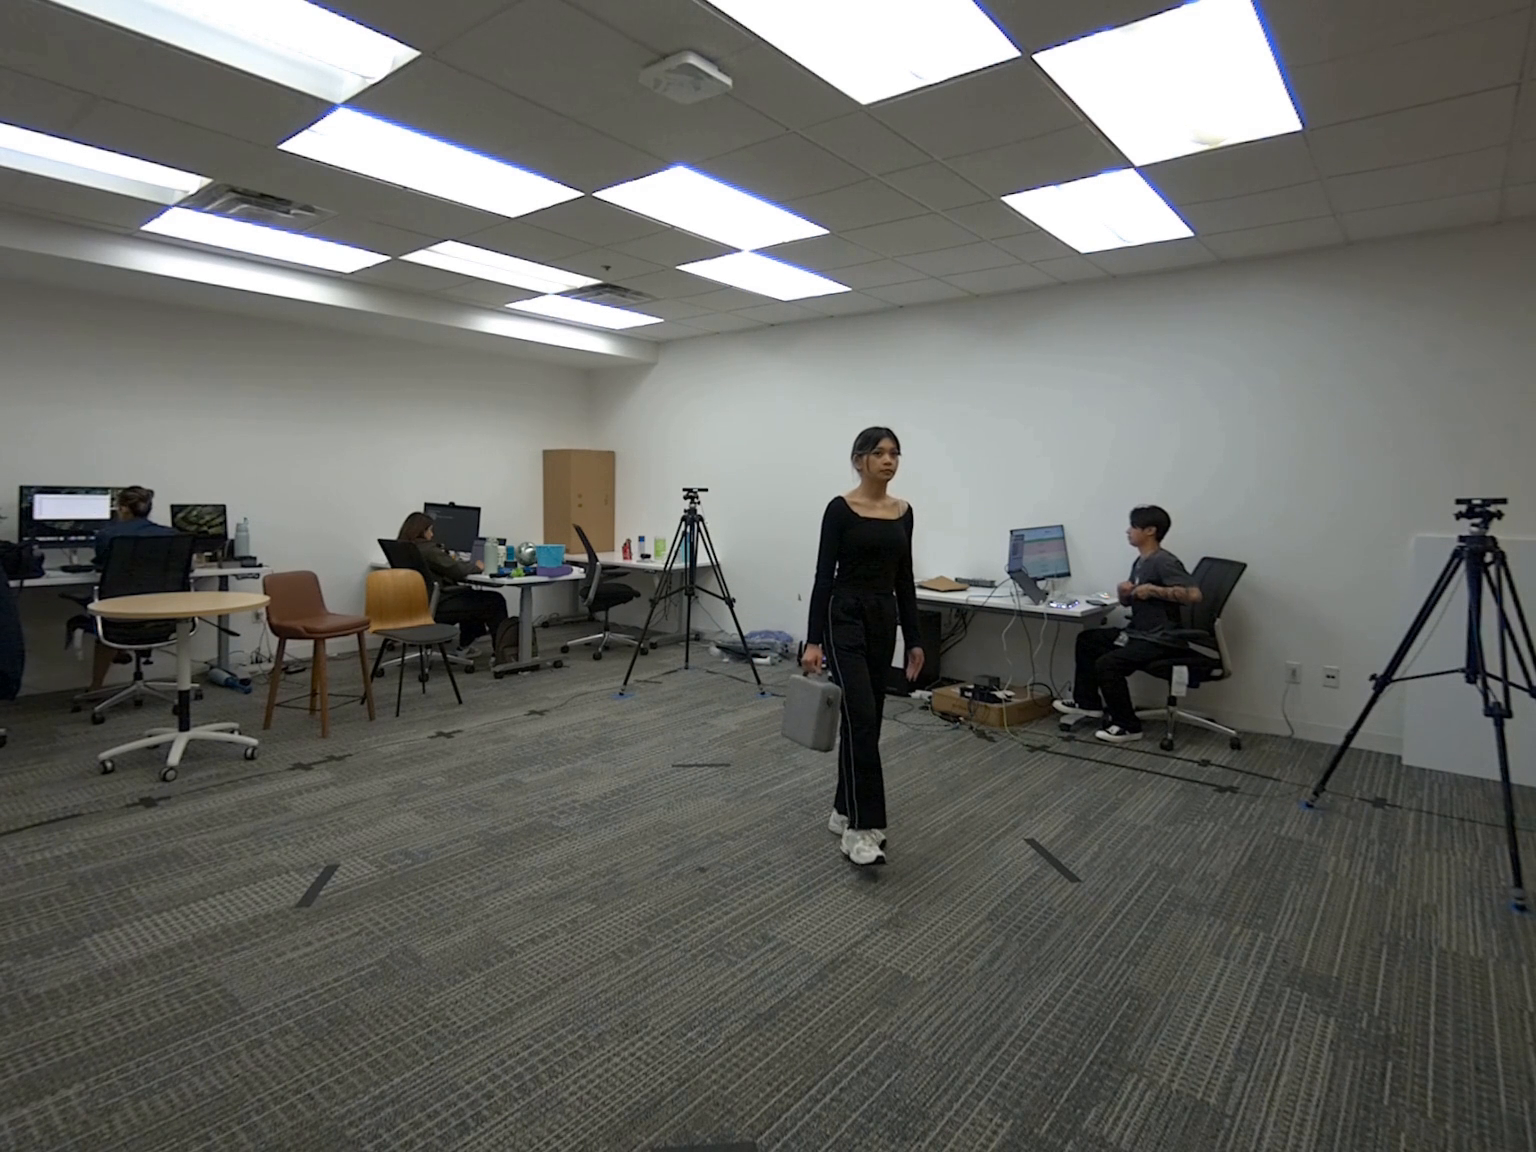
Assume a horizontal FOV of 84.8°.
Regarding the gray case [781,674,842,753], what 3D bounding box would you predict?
[{"bbox_3d":[0.159,0.510,3.246,0.101,0.261,0.263,5,-2,-28],"label":"gray case"}]
